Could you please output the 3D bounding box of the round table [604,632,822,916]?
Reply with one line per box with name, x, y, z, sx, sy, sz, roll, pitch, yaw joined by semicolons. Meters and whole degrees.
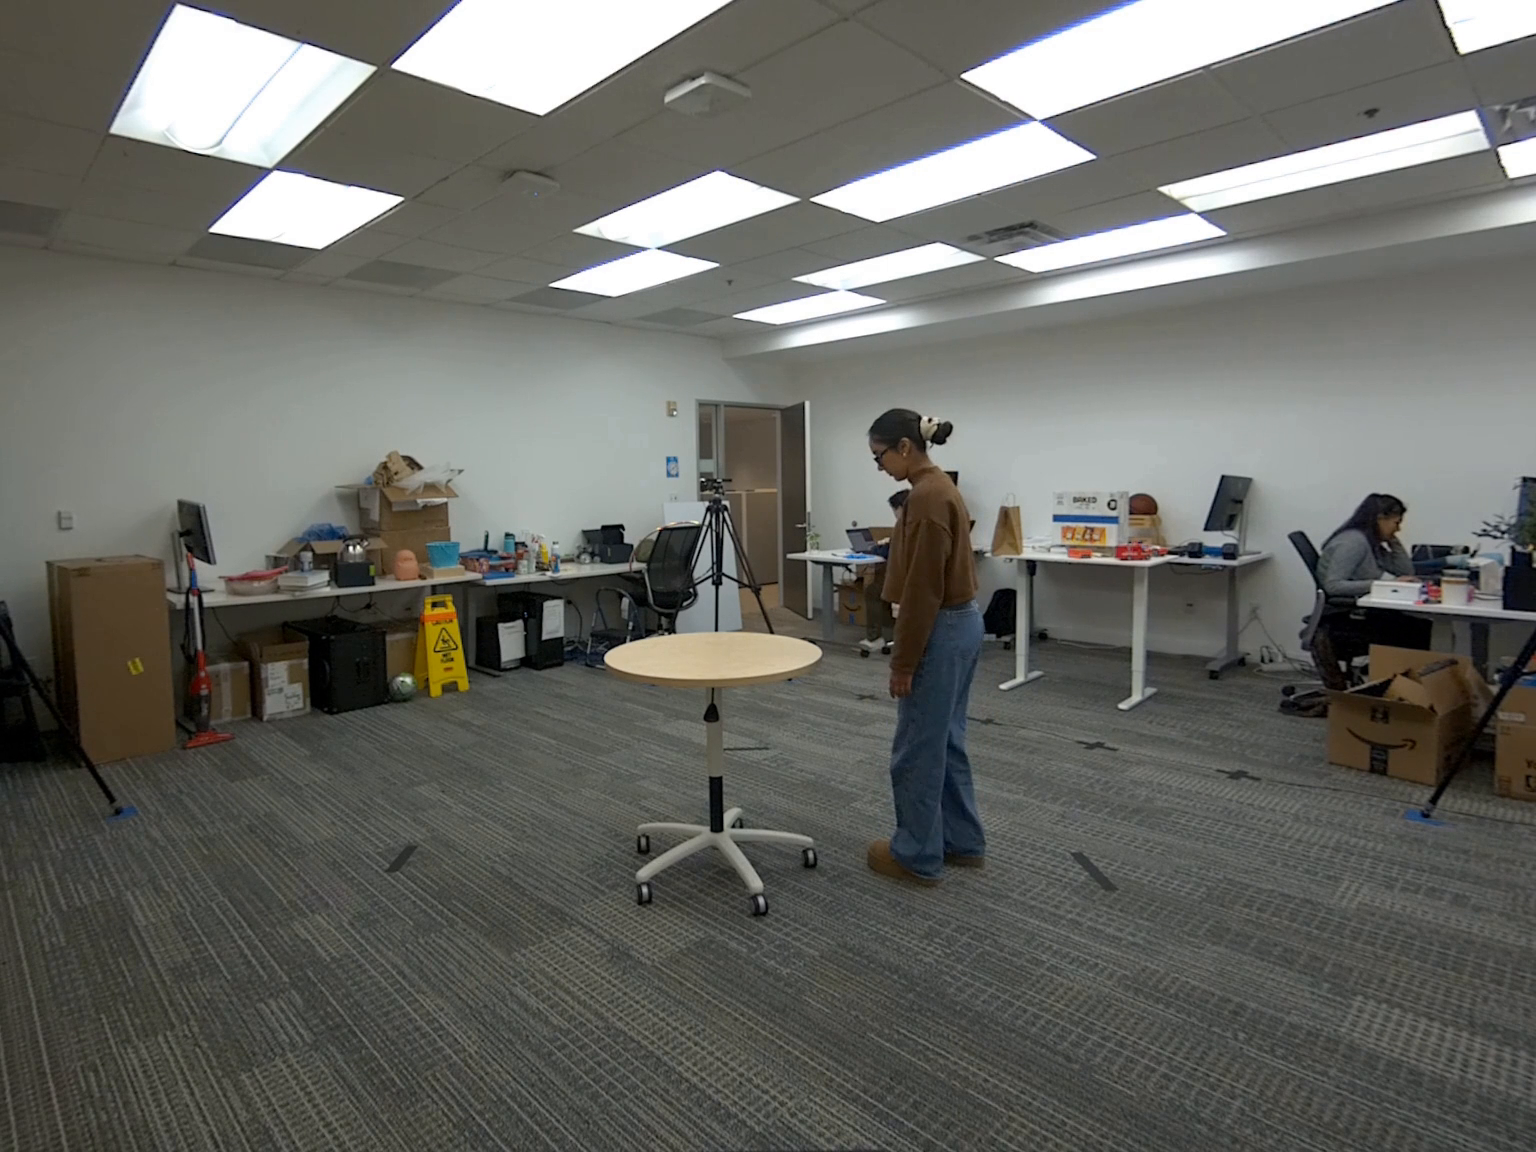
round table;-0.177;0.665;3.035;0.763;0.791;0.768;-1;5;-2
